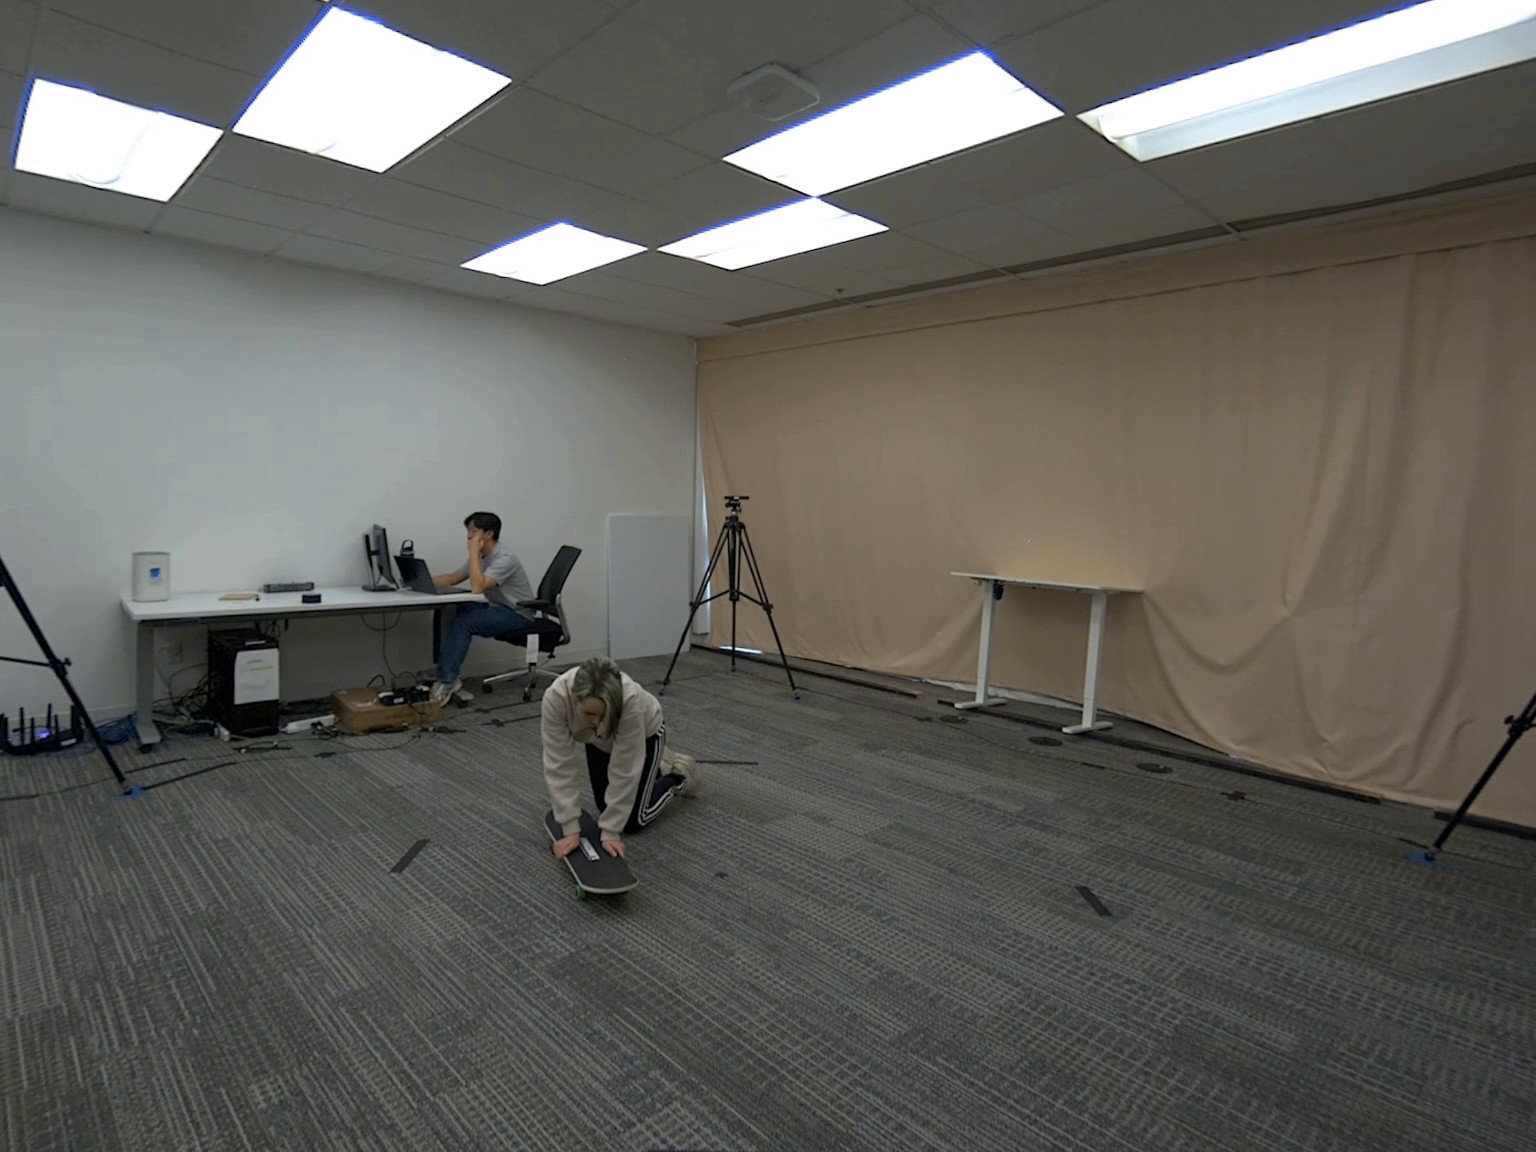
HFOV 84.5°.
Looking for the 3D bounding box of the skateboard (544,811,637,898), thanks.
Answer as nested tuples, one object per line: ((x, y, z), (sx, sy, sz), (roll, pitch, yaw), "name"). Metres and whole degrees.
((-0.679, 1.040, 3.105), (0.190, 0.110, 0.802), (0, 5, -25), "skateboard")
